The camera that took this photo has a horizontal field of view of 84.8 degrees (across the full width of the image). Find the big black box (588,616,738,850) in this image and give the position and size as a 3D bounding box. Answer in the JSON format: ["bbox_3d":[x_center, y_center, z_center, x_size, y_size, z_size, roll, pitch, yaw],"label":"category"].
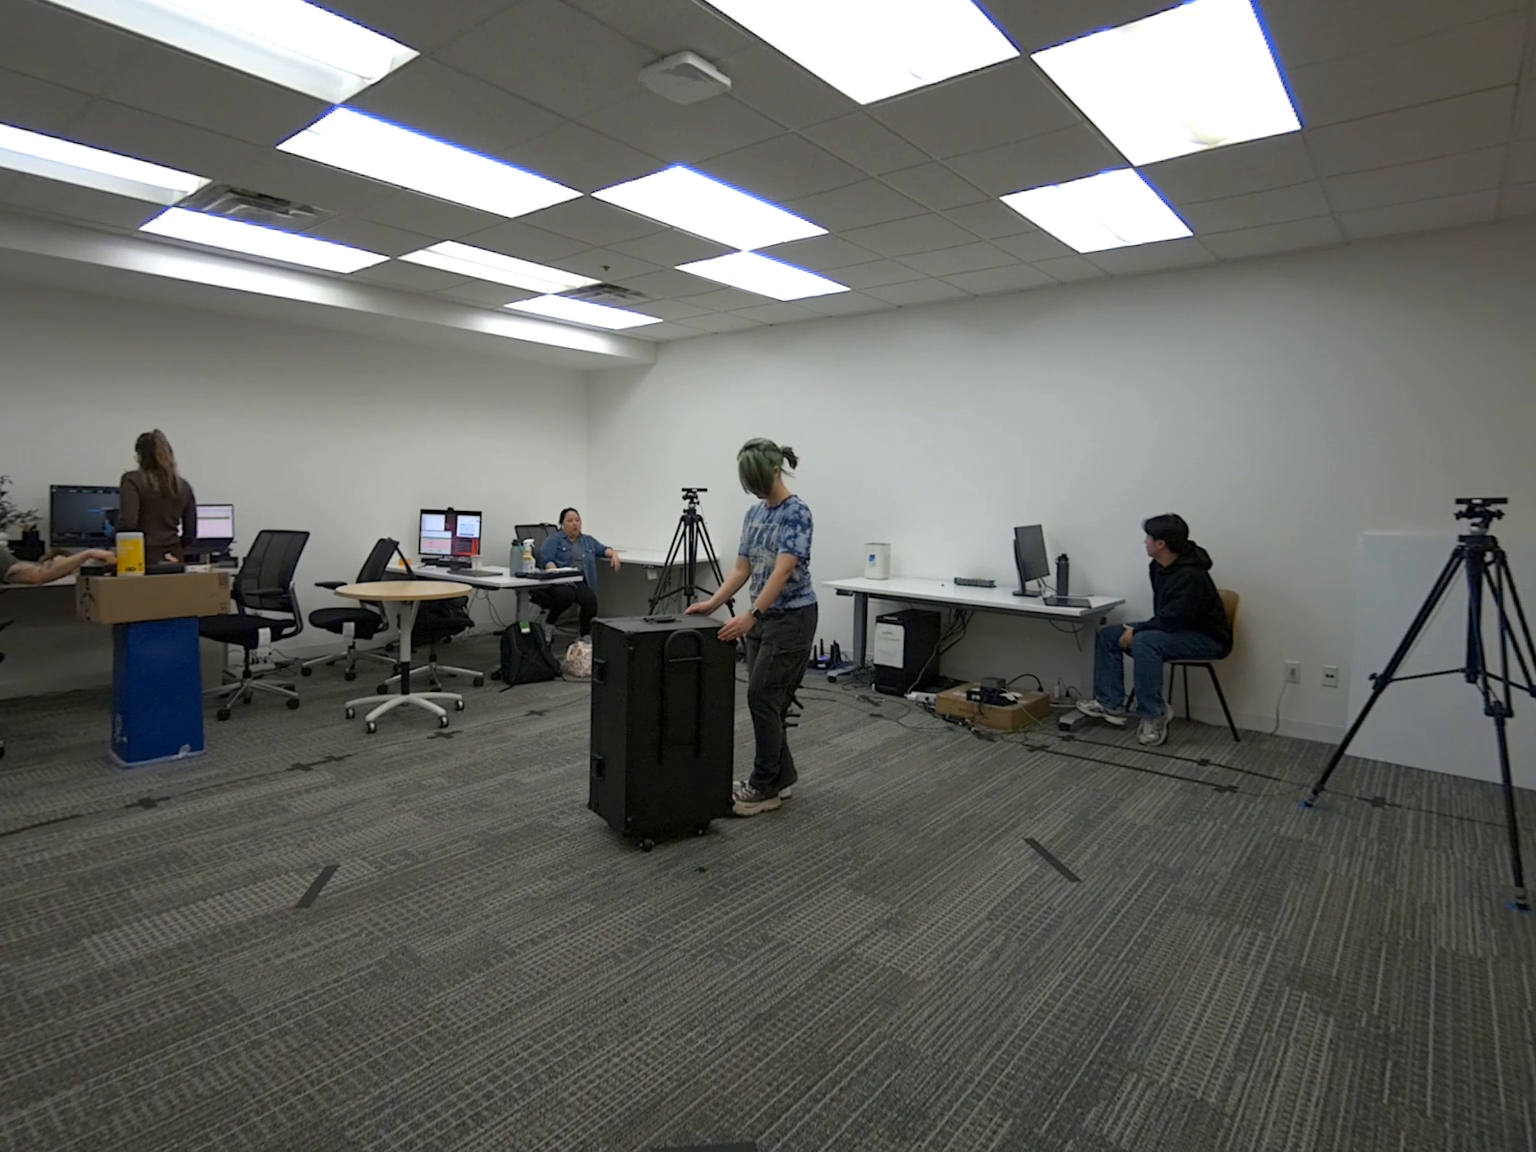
[{"bbox_3d":[-0.434,0.611,3.445,0.506,0.859,0.409,0,4,-33],"label":"big black box"}]
